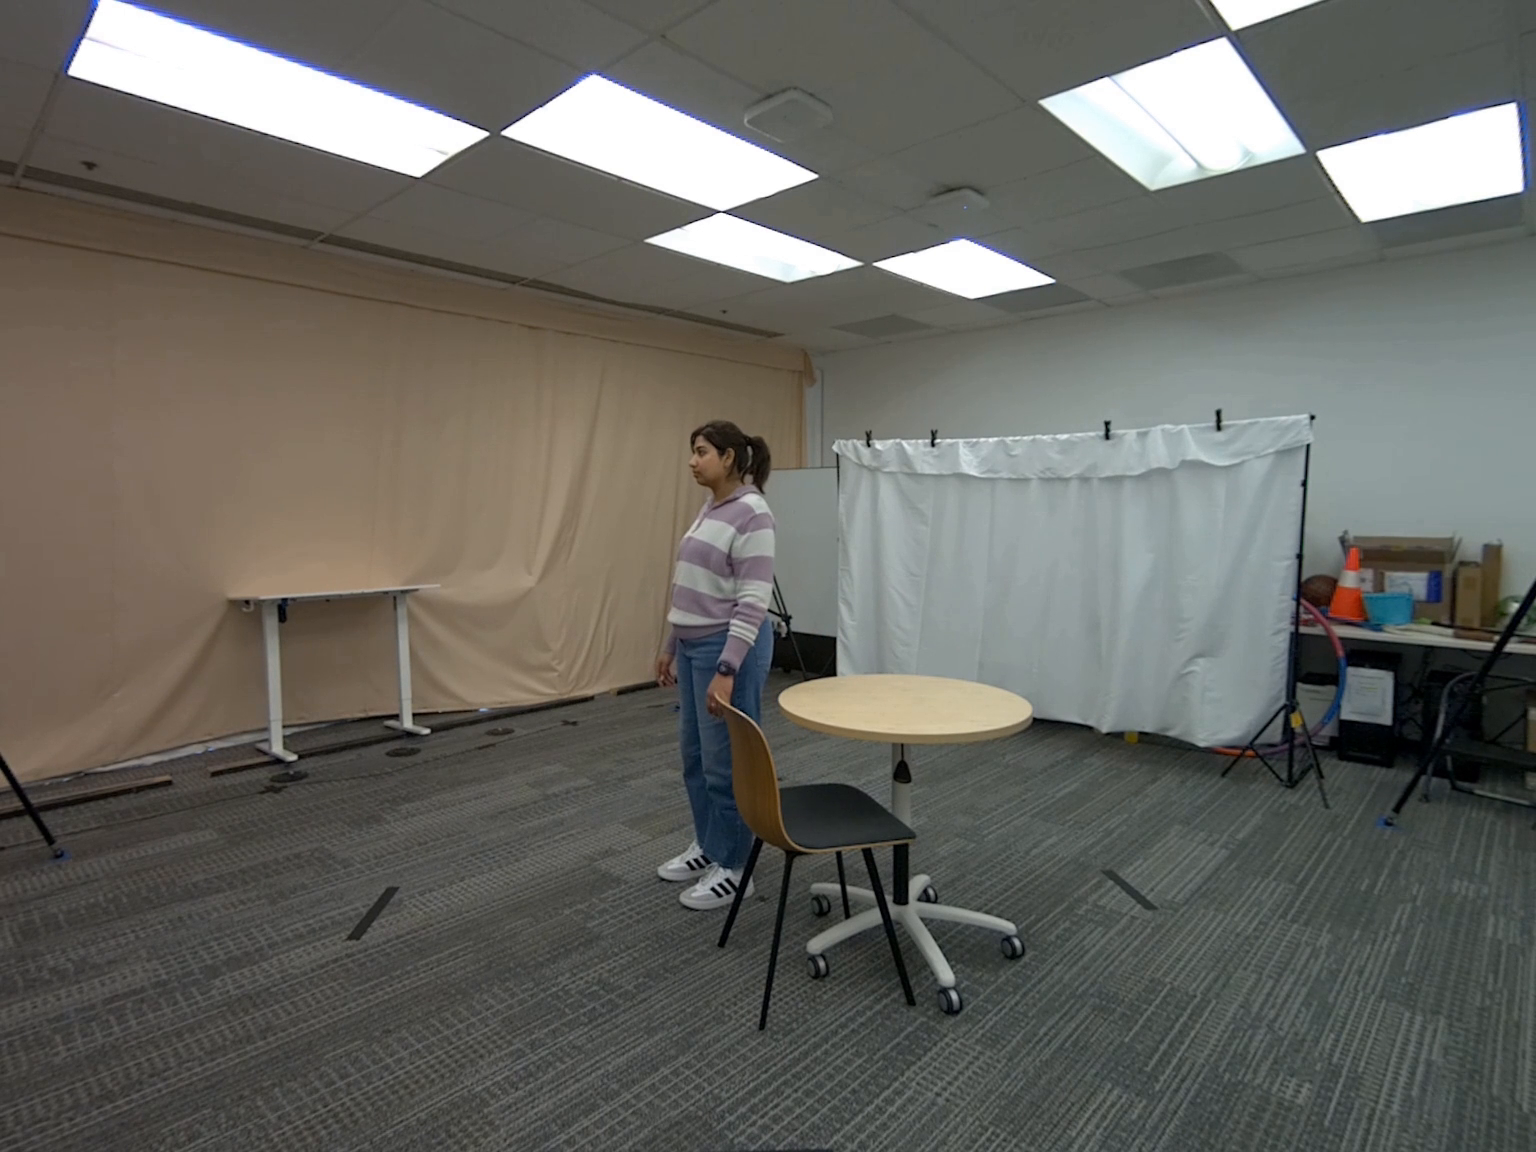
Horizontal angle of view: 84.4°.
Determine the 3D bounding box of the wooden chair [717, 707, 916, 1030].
[{"bbox_3d":[0.142,0.758,2.477,0.515,0.875,0.487,-5,4,-16],"label":"wooden chair"}]
